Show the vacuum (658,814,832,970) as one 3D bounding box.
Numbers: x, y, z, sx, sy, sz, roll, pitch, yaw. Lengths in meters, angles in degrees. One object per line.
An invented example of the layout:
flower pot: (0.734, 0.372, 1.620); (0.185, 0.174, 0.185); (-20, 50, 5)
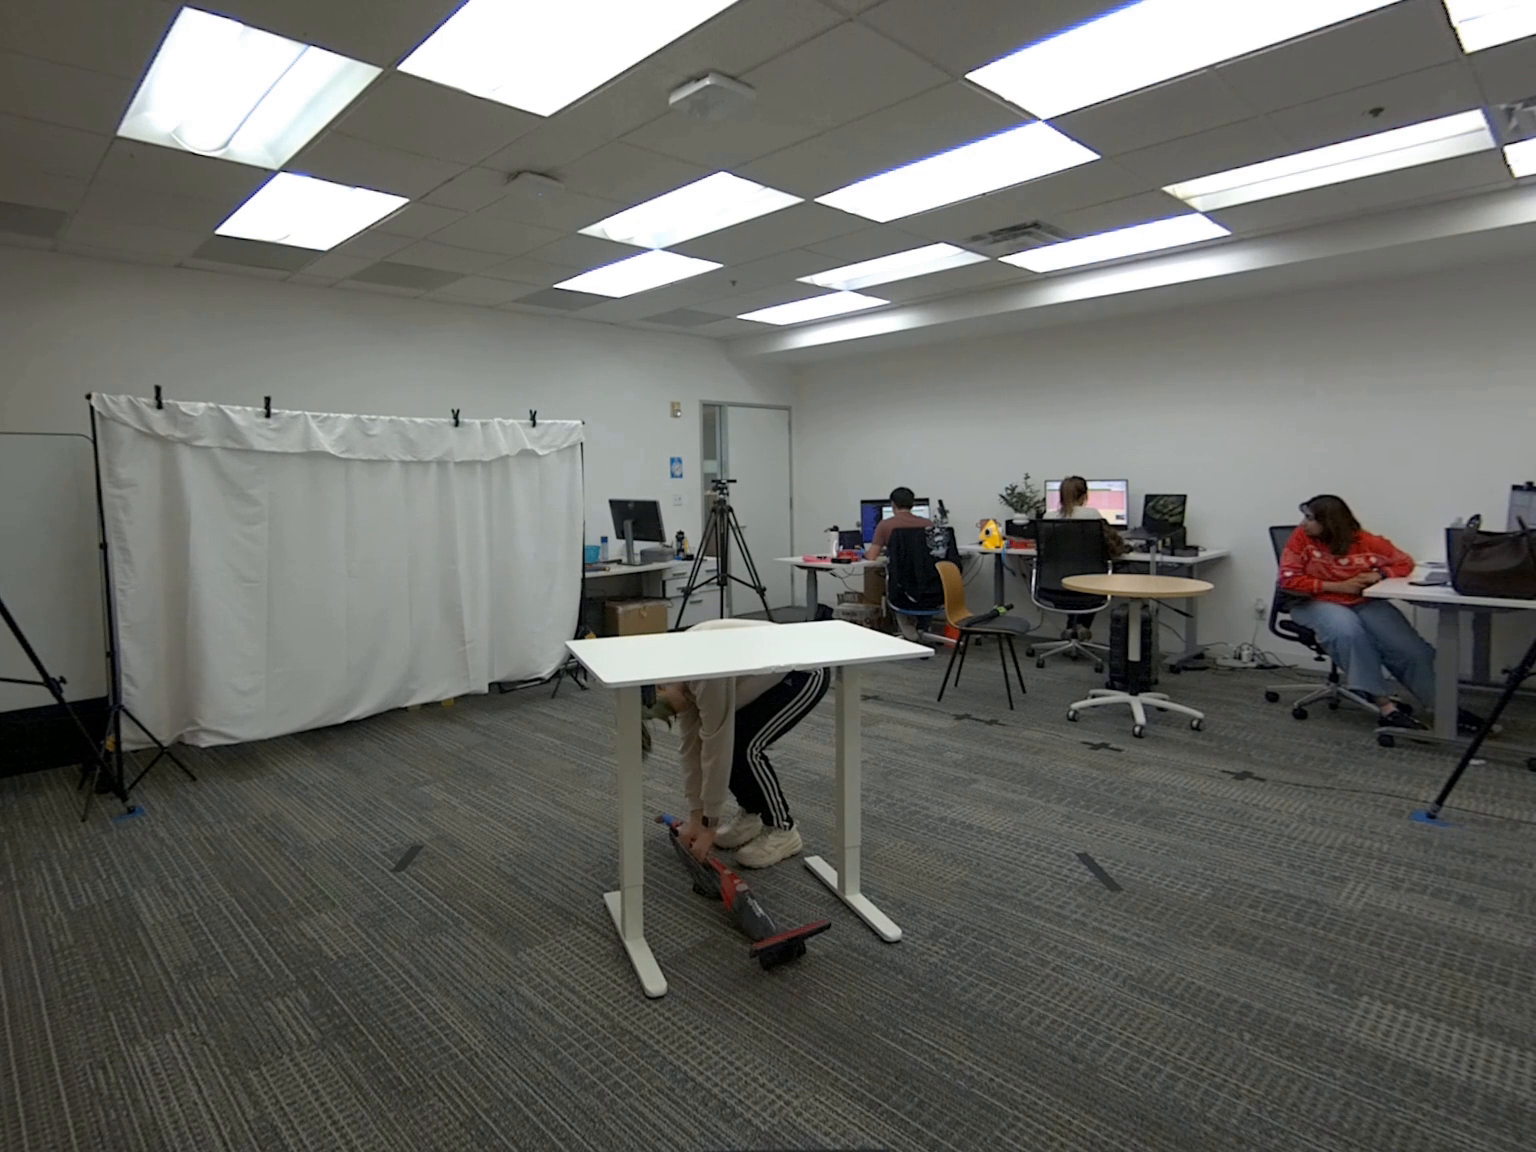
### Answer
vacuum: (-0.199, 1.011, 2.899); (0.247, 0.143, 1.077); (-8, 8, -27)
